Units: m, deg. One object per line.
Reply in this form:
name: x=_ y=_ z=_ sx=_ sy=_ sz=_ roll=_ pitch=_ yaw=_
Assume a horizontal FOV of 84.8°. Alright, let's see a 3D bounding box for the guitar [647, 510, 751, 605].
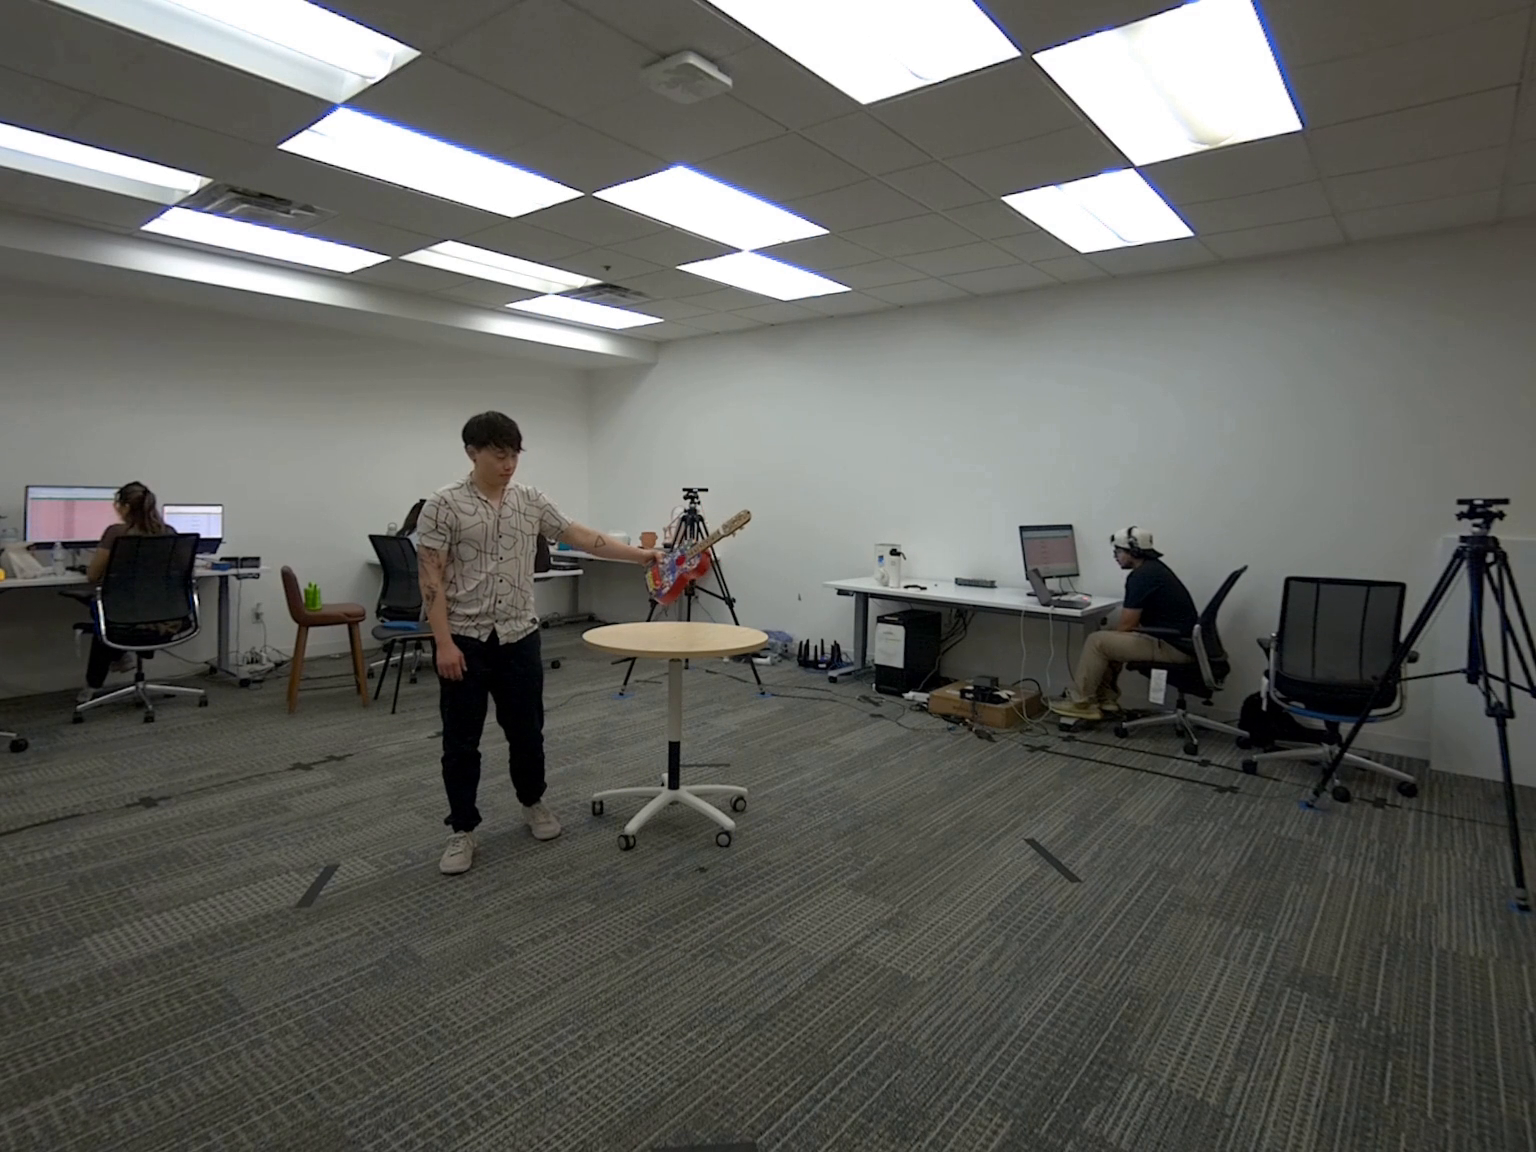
guitar: x=-0.263 y=-0.064 z=3.179 sx=0.503 sy=0.199 sz=0.068 roll=-27 pitch=-36 yaw=21
